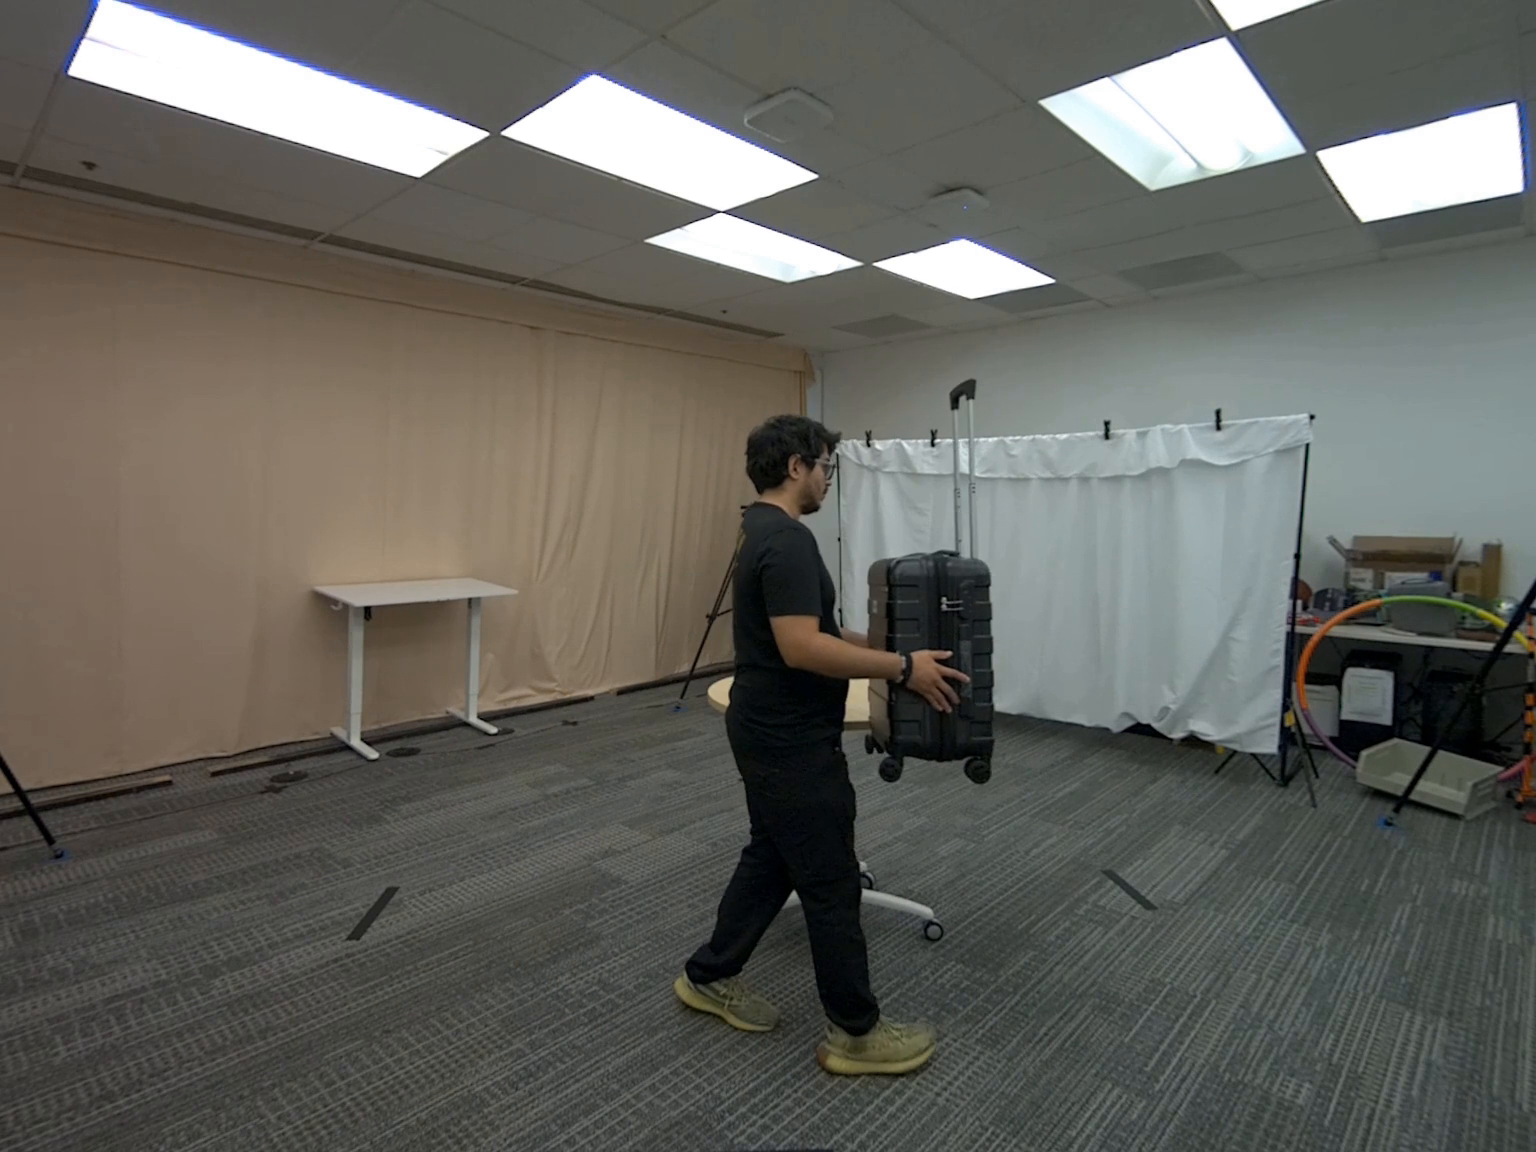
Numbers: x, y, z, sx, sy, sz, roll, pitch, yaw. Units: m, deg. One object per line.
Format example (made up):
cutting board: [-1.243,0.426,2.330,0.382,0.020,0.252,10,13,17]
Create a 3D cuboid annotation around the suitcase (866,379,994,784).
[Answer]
suitcase: [0.410,-0.001,2.151,0.257,0.979,0.383,-1,-1,1]
